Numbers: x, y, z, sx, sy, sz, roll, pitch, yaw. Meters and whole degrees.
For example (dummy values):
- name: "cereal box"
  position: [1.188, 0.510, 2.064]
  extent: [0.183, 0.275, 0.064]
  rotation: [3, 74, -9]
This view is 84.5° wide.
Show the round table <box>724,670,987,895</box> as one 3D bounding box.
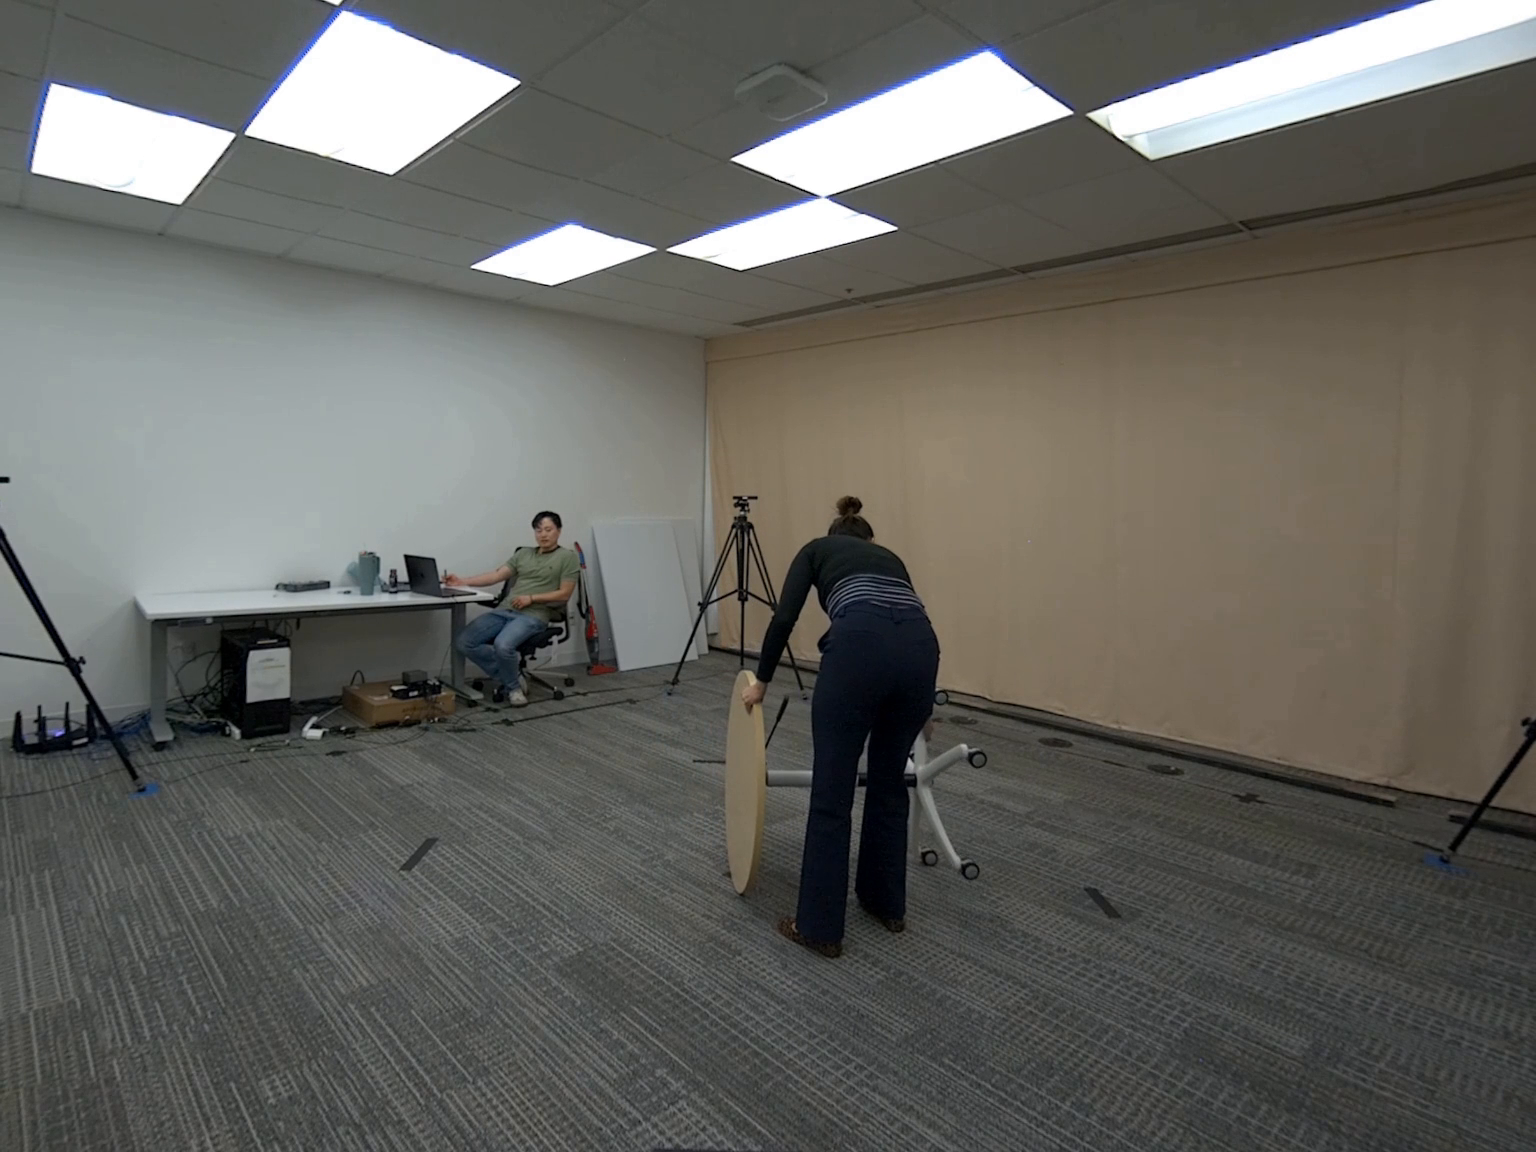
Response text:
- name: "round table"
  position: [0.287, 0.753, 3.077]
  extent: [0.789, 0.762, 0.770]
  rotation: [4, 4, -8]
